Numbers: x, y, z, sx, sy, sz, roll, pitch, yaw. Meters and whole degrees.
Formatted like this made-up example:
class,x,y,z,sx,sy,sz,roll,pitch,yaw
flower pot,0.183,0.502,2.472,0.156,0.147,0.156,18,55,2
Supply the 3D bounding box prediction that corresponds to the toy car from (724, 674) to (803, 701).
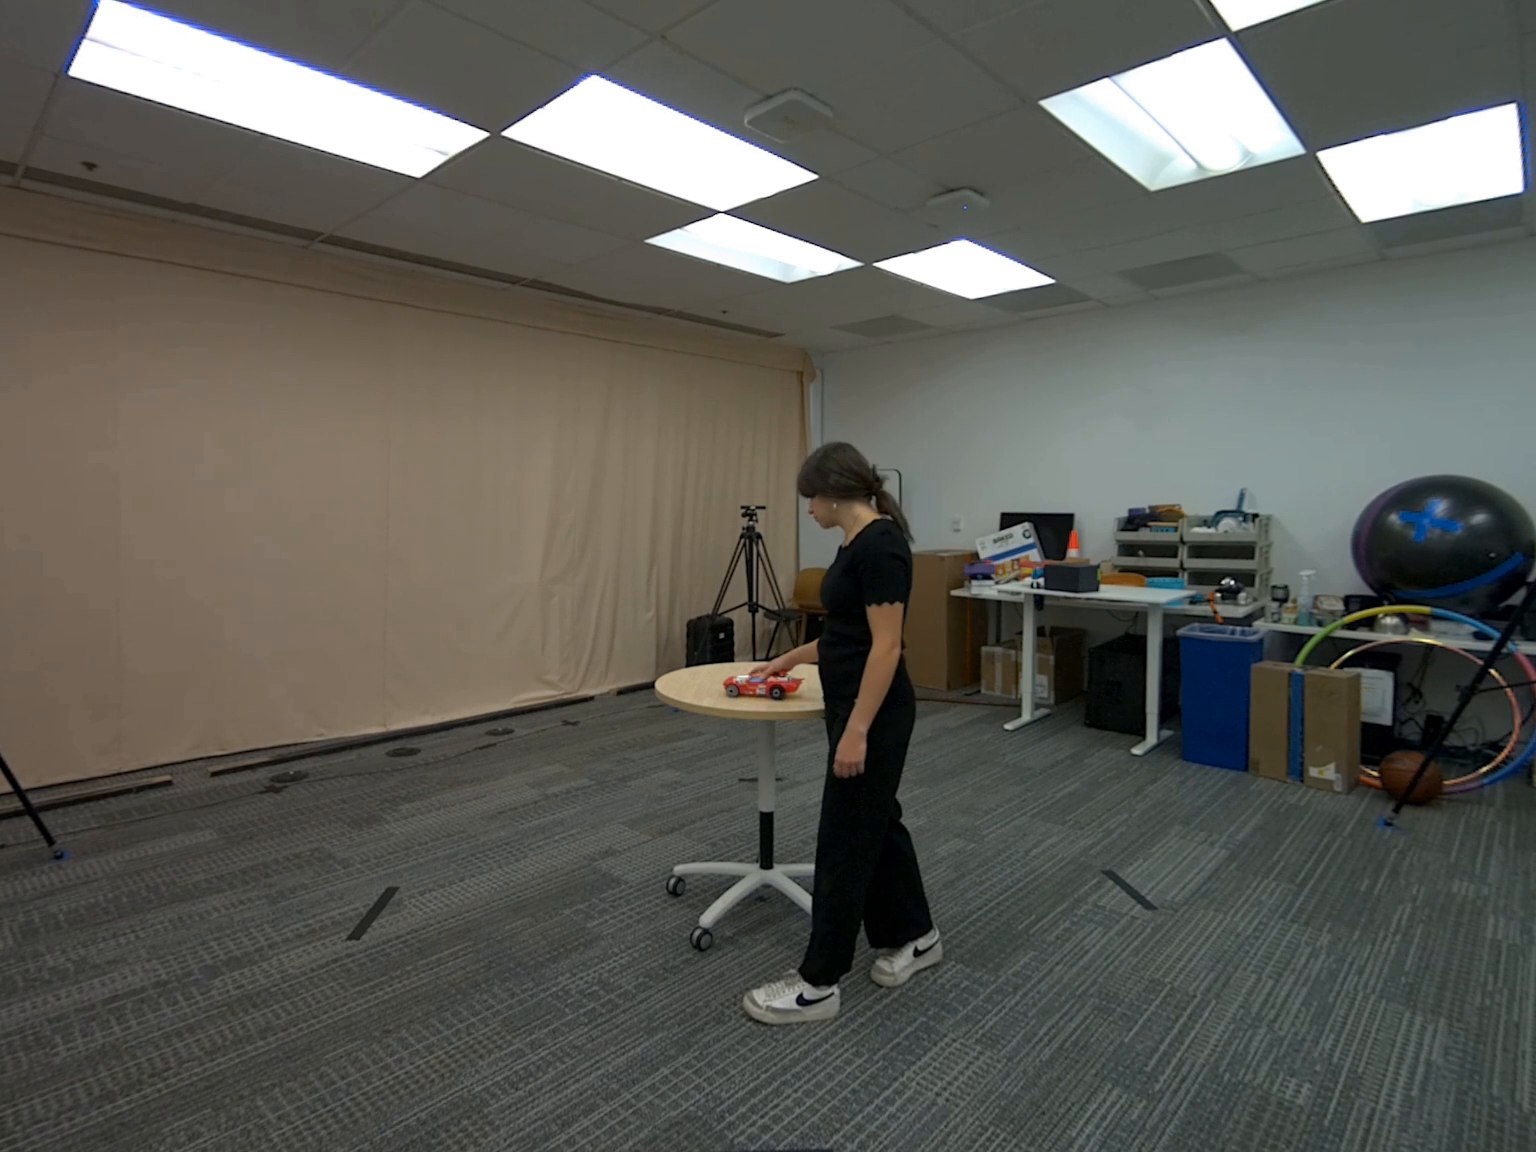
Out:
class,x,y,z,sx,sy,sz,roll,pitch,yaw
toy car,-0.010,0.355,2.694,0.258,0.083,0.128,-10,1,15
